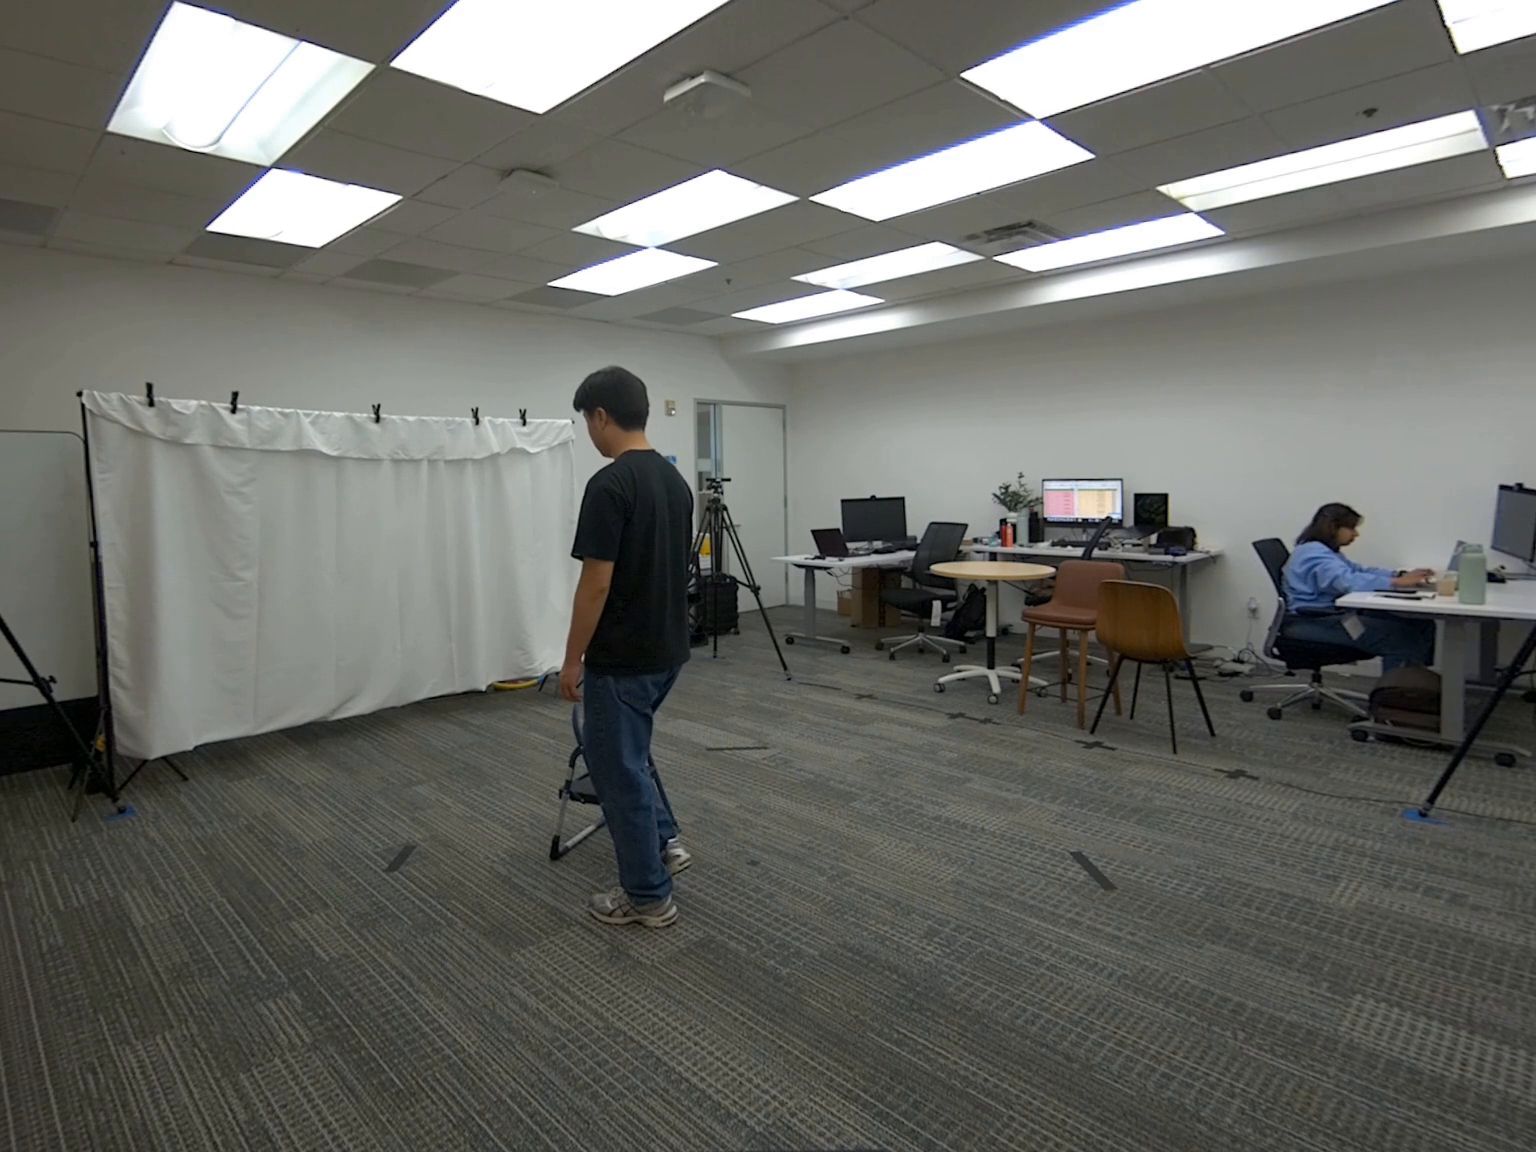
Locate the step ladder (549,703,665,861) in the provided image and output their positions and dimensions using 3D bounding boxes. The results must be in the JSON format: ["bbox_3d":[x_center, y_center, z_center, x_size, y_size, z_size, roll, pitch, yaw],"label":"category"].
[{"bbox_3d":[-0.585,0.732,3.264,0.356,0.604,0.424,1,4,20],"label":"step ladder"}]
